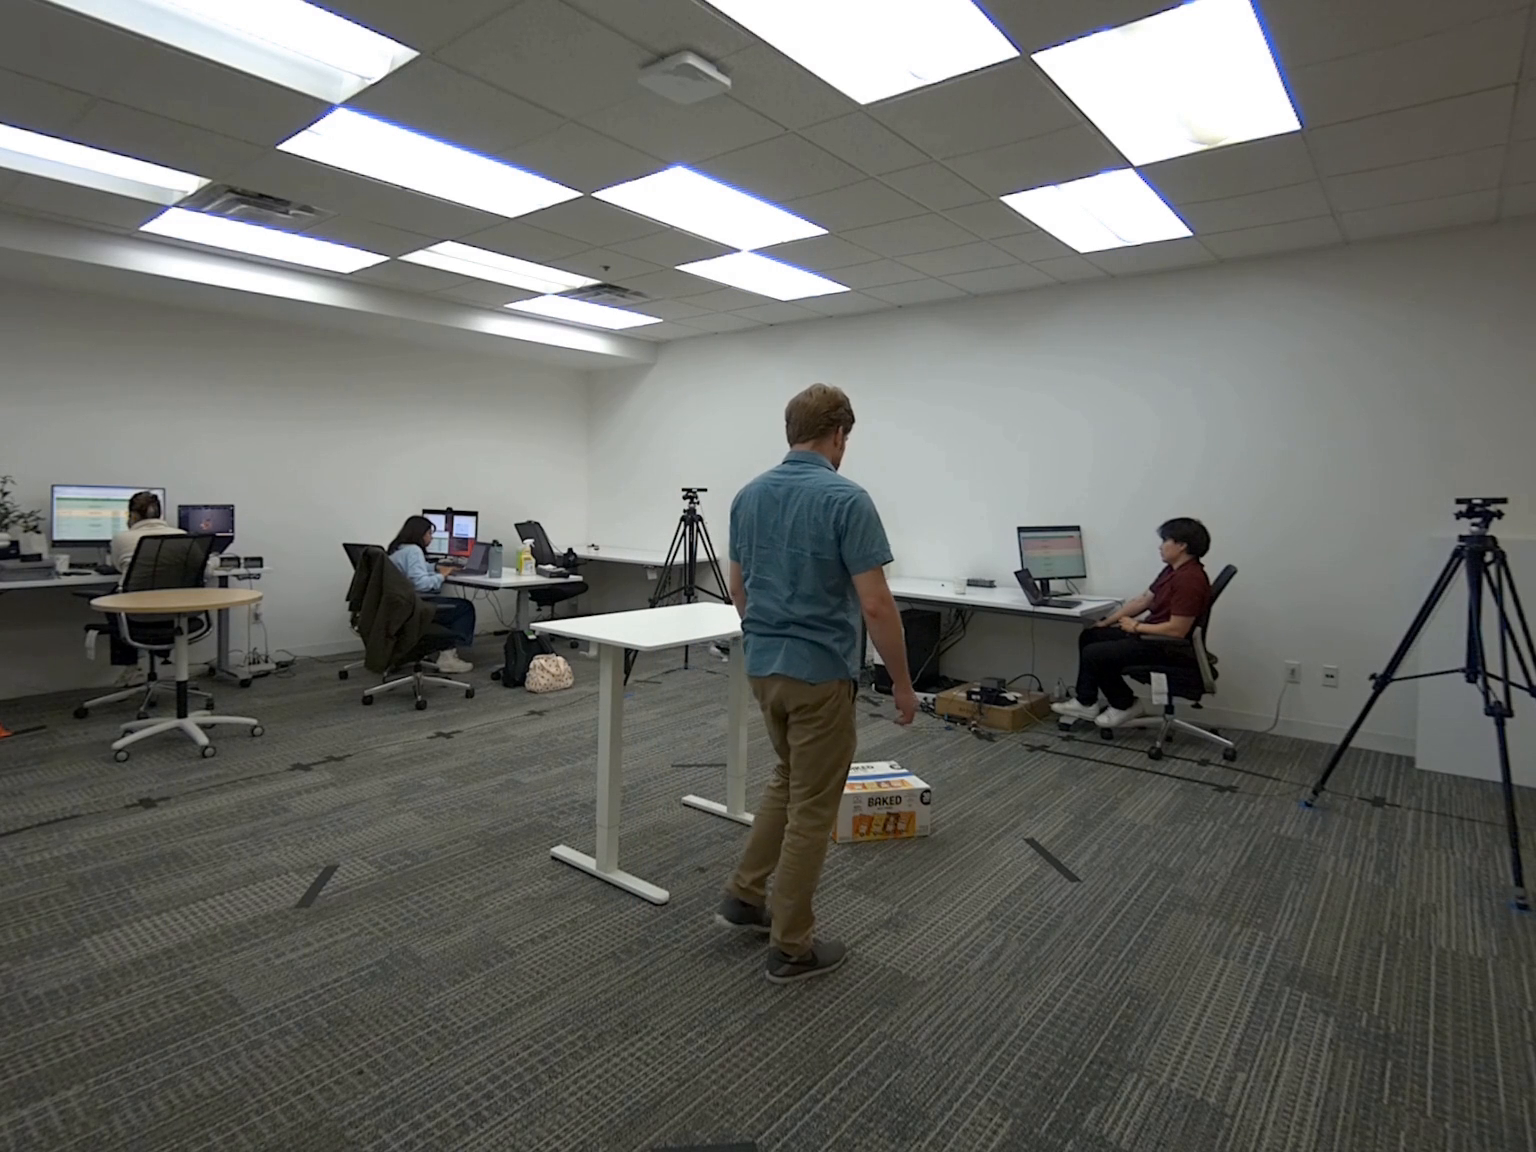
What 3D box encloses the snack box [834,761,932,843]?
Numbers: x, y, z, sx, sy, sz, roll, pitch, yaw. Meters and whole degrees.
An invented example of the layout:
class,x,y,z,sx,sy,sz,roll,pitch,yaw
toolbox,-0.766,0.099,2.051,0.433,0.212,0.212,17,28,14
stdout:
class,x,y,z,sx,sy,sz,roll,pitch,yaw
snack box,0.412,0.937,3.567,0.399,0.205,0.347,0,5,-15
